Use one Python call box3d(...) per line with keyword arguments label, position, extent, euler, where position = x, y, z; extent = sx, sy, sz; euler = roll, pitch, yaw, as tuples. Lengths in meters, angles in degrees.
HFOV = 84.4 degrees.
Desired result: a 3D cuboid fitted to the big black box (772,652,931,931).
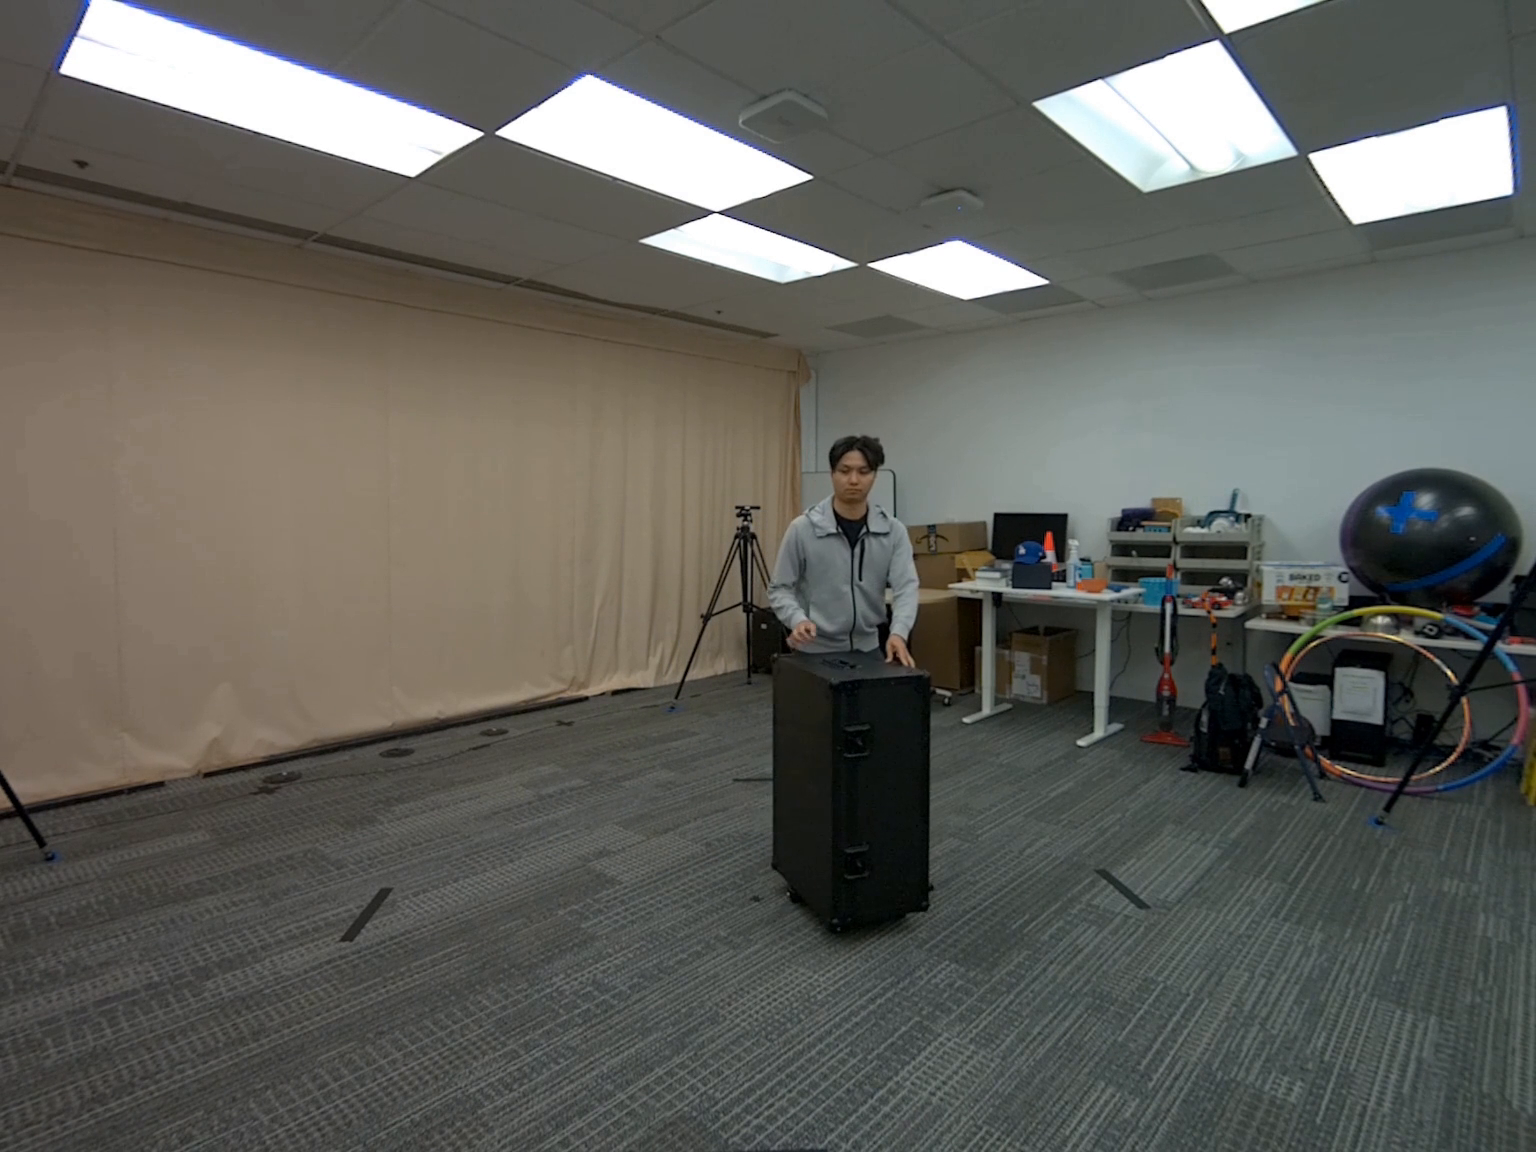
box3d(label="big black box", position=(0.272, 0.724, 2.903), extent=(0.388, 0.859, 0.534), euler=(-1, 4, -22))
